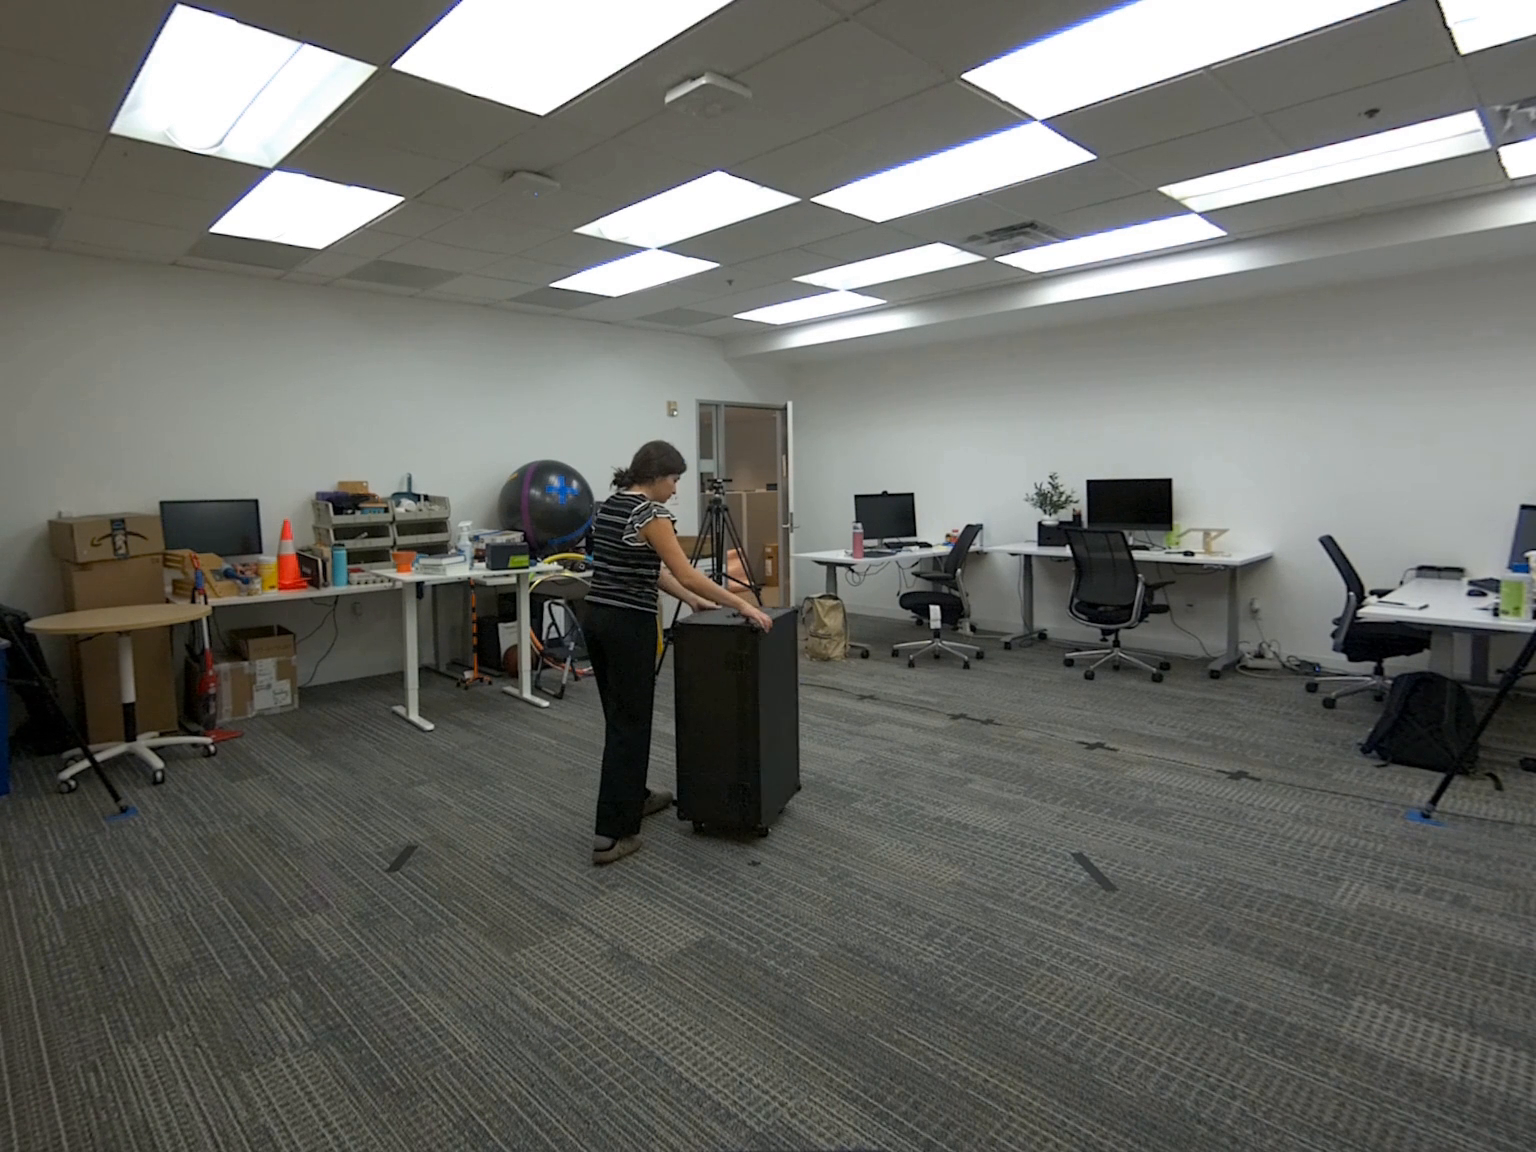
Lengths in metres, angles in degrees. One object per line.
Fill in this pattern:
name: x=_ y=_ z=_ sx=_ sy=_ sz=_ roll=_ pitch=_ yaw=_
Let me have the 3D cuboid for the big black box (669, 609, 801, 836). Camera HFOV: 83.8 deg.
big black box: x=-0.123 y=0.580 z=3.476 sx=0.404 sy=0.858 sz=0.513 roll=1 pitch=5 yaw=21
